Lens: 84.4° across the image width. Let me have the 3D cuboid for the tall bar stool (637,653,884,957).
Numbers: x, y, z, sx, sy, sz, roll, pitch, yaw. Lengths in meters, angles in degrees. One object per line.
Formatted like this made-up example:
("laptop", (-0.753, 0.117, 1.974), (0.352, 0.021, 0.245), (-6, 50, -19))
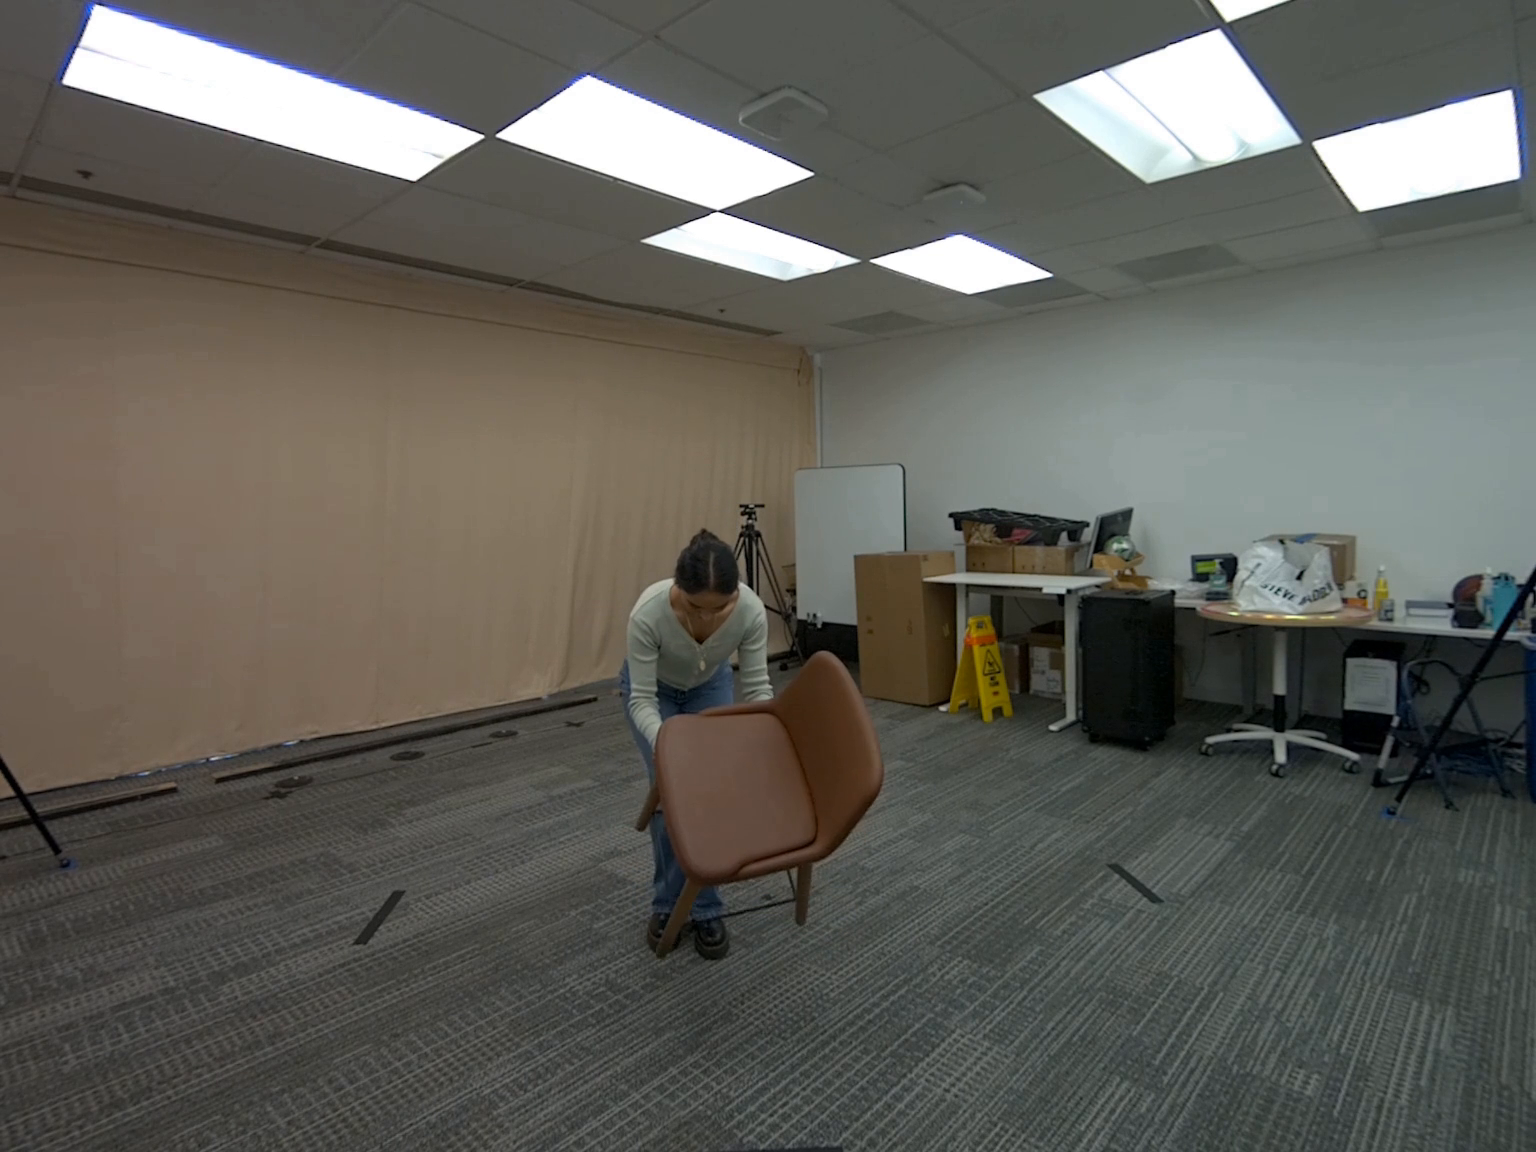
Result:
("tall bar stool", (-0.067, 0.635, 2.249), (0.460, 0.468, 0.882), (-1, -41, -18))
